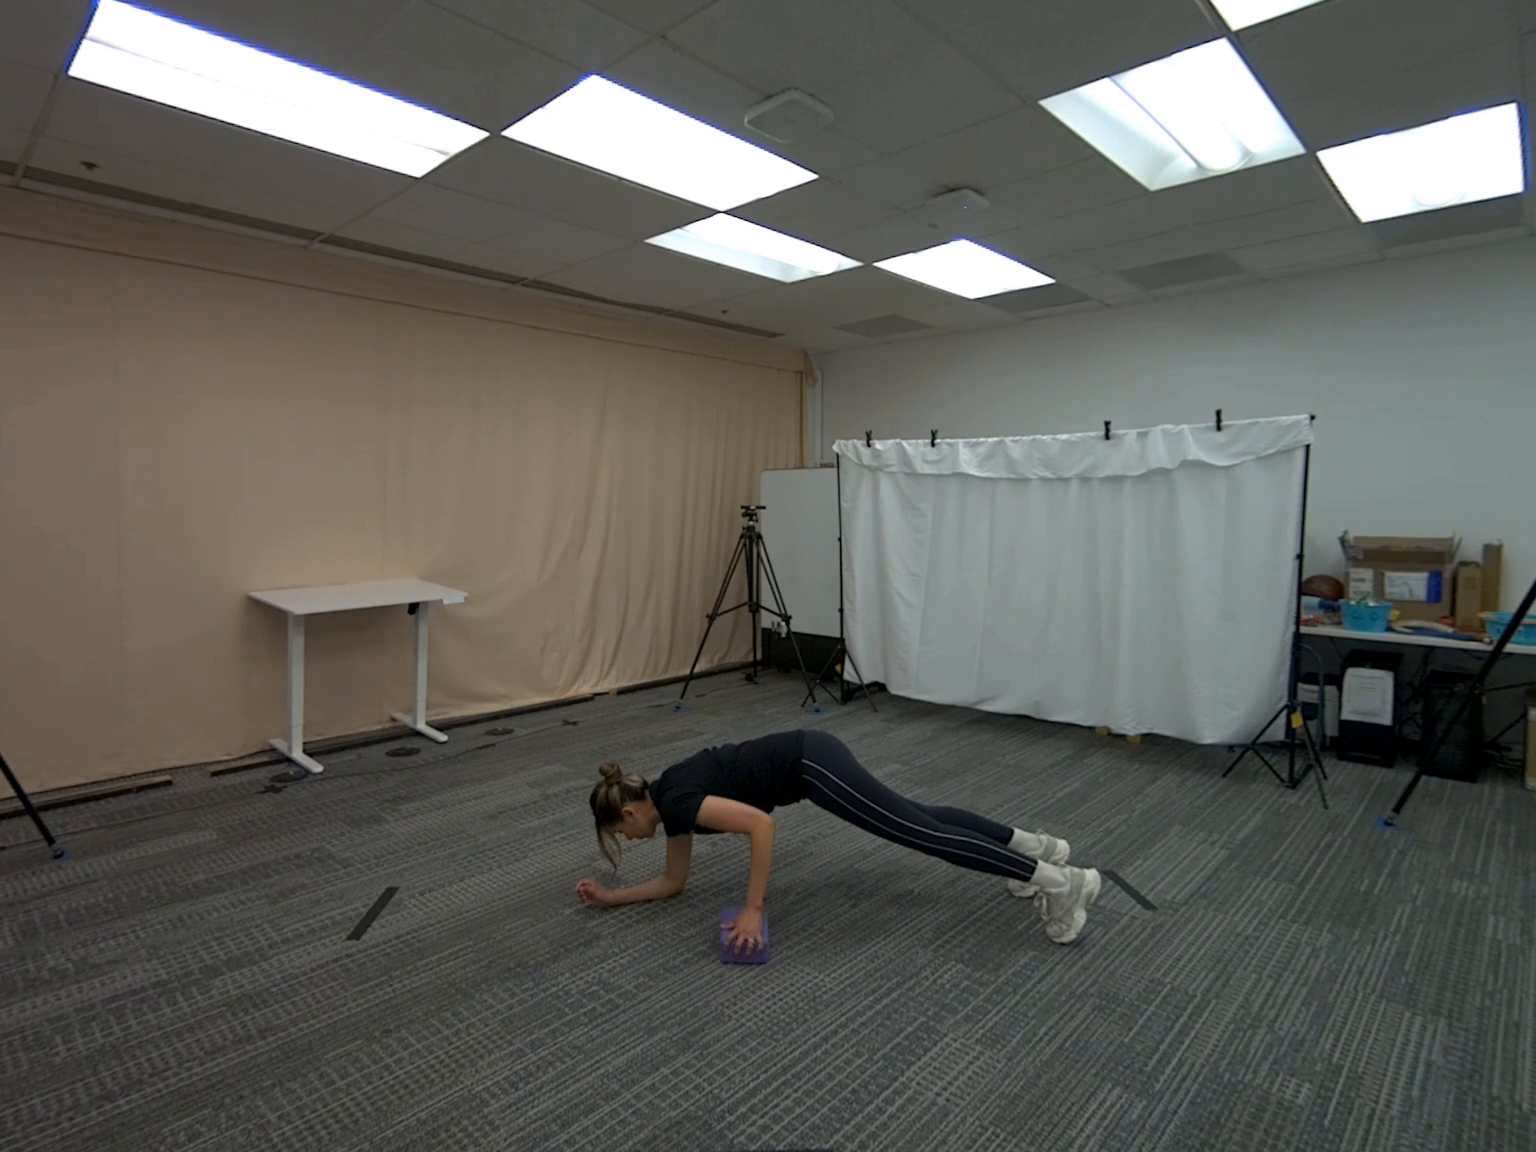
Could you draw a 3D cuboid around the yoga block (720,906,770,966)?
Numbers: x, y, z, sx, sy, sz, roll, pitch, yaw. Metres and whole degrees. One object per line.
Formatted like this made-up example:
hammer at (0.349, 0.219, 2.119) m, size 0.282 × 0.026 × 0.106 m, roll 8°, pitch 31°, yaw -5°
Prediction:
yoga block at (-0.070, 1.130, 2.667) m, size 0.149 × 0.076 × 0.230 m, roll 0°, pitch 7°, yaw 0°
